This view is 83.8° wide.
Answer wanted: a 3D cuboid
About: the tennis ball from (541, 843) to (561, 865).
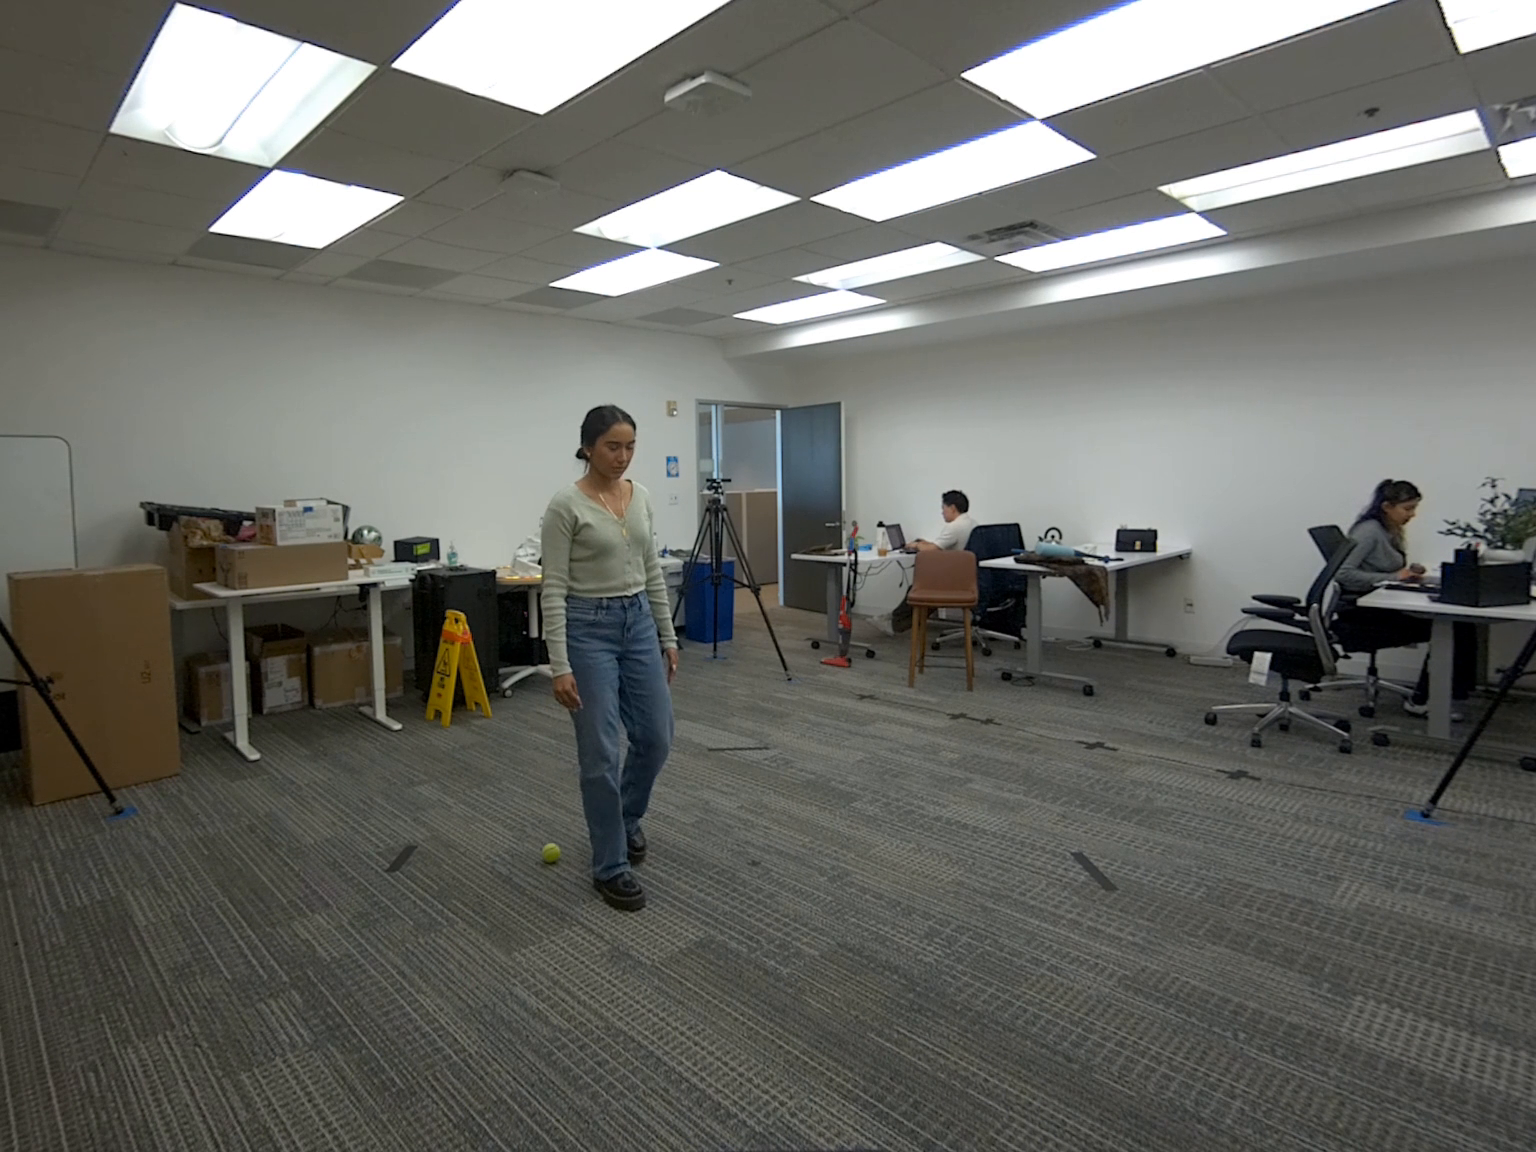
[{"bbox_3d":[-0.789,1.004,3.144,0.066,0.066,0.067,-1,5,-2],"label":"tennis ball"}]
